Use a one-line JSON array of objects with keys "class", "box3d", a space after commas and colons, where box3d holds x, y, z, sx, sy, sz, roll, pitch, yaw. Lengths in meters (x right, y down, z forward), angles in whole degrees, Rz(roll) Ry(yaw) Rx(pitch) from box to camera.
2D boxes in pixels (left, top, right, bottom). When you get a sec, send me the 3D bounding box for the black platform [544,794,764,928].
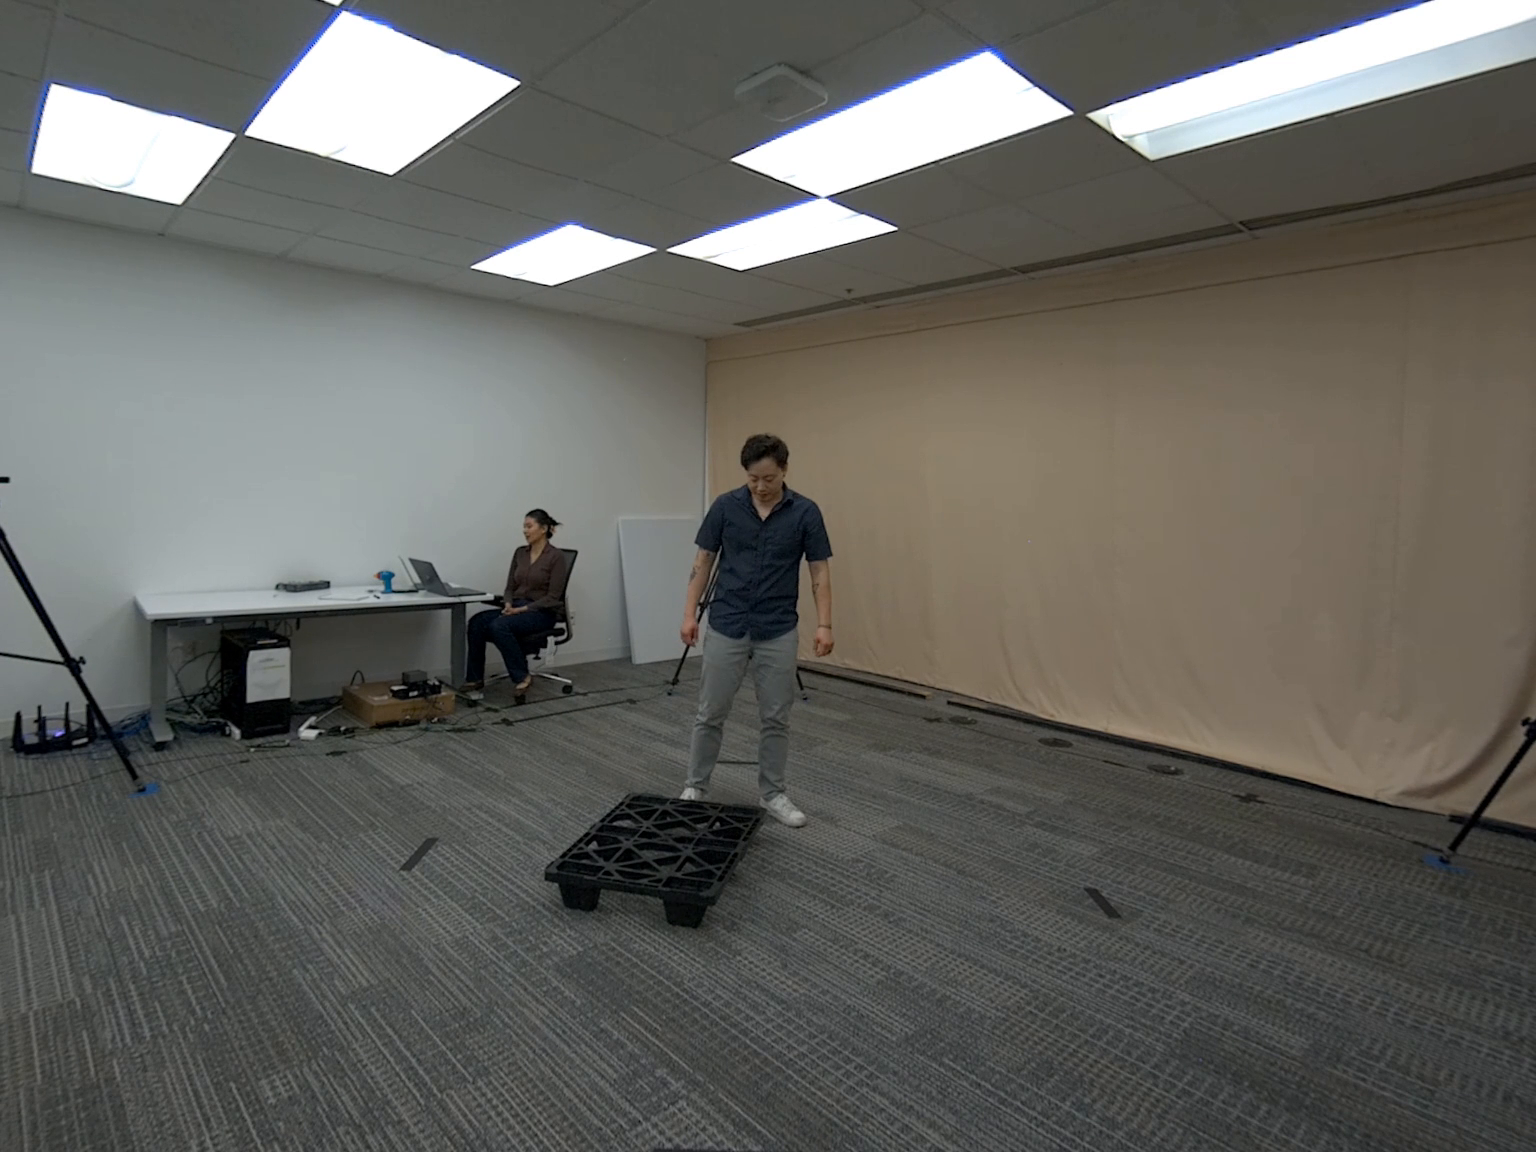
[{"class": "black platform", "box3d": [-0.380, 1.030, 3.117, 0.612, 0.143, 0.799, 3, 5, 13]}]
